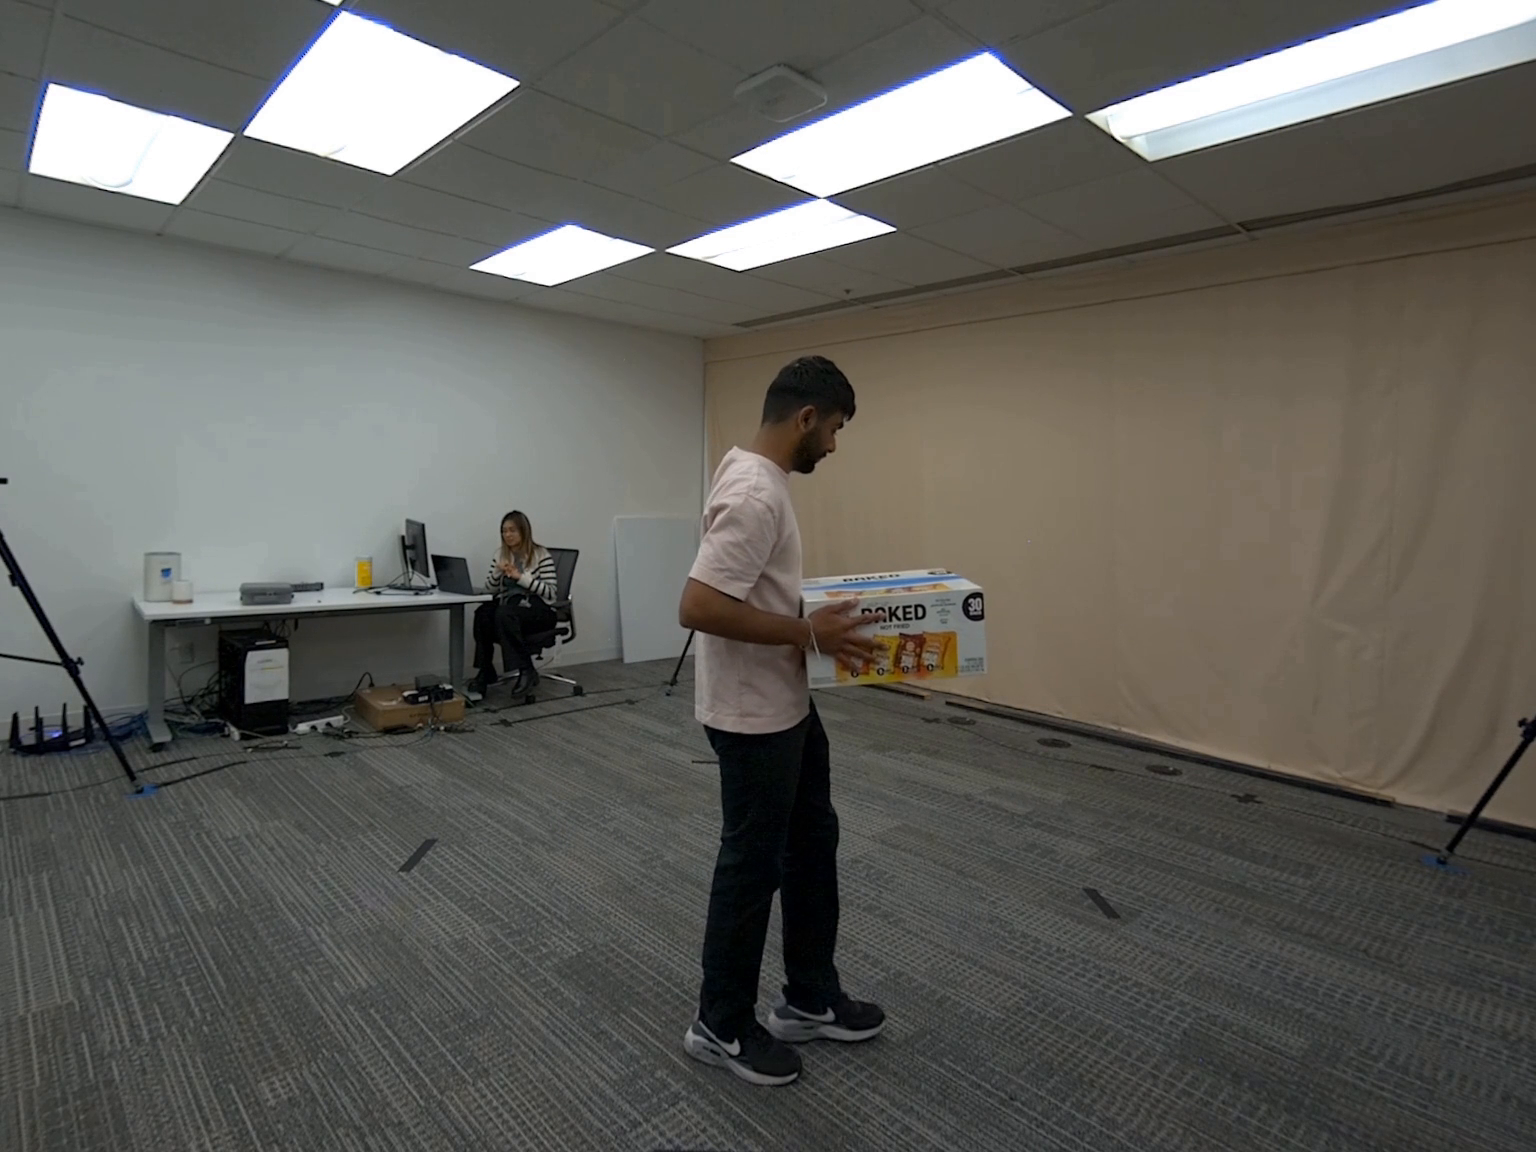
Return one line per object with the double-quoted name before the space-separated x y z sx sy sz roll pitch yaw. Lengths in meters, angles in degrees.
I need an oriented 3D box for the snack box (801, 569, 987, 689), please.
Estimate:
"snack box" 0.275 0.118 2.034 0.404 0.204 0.343 -4 8 -2
